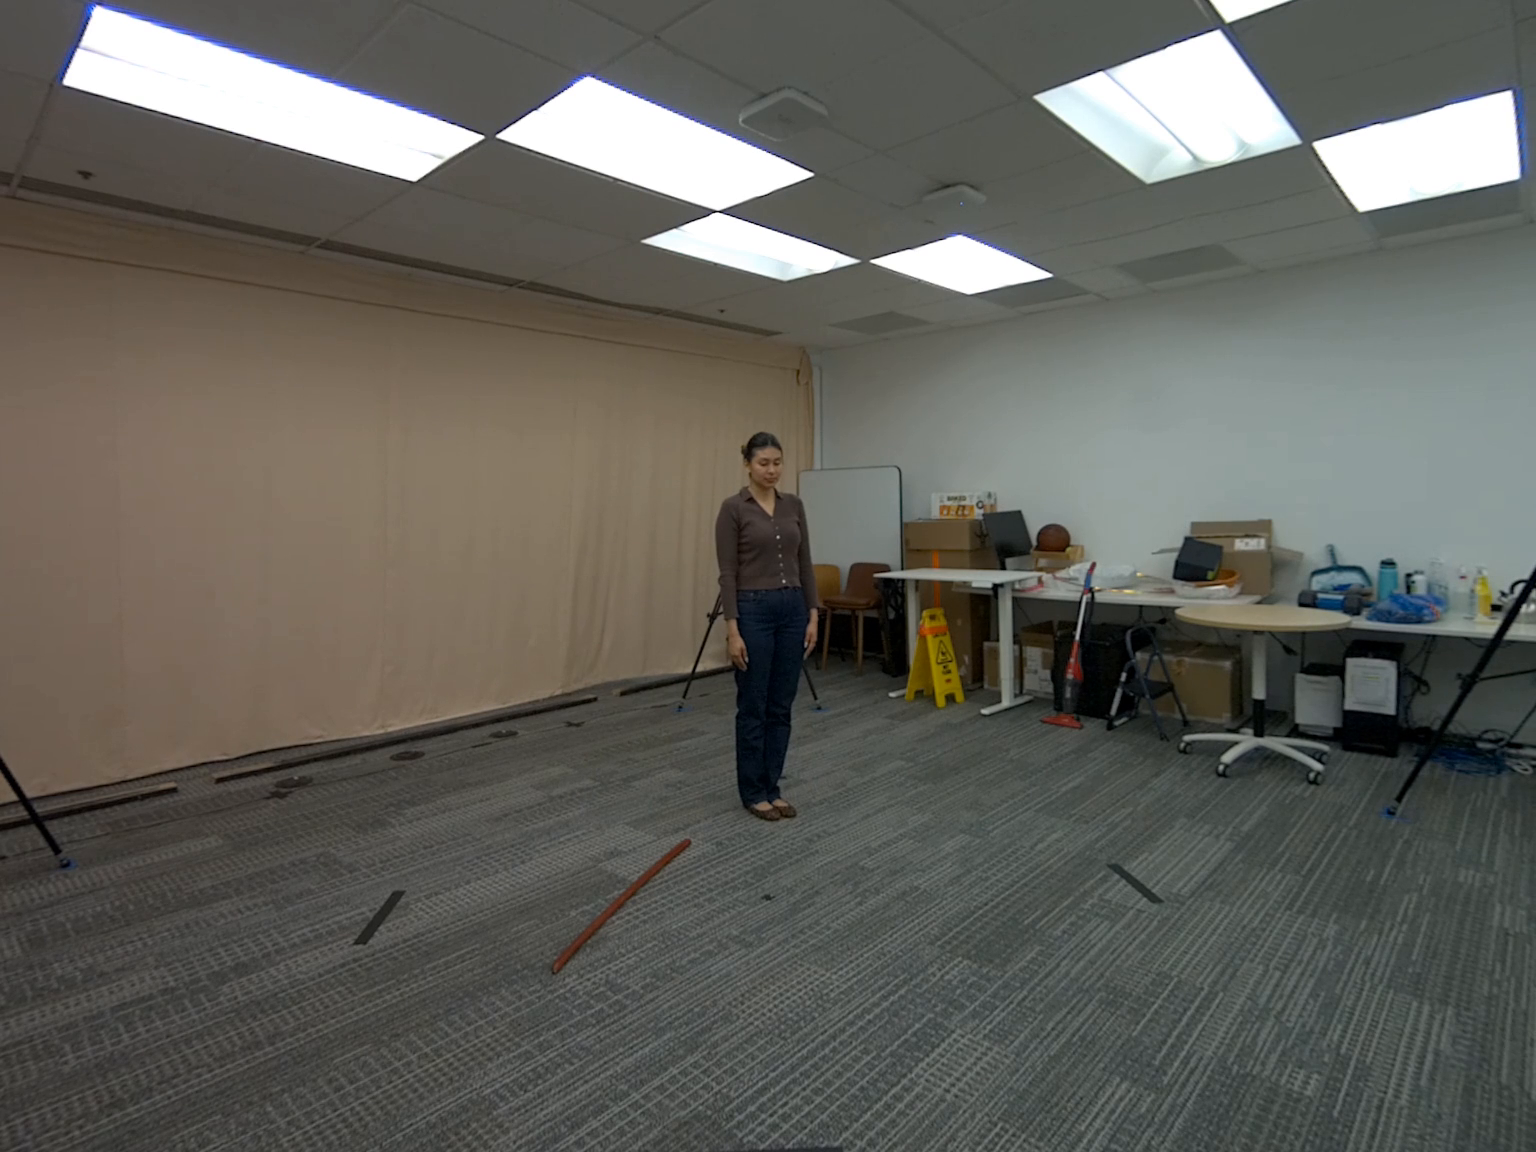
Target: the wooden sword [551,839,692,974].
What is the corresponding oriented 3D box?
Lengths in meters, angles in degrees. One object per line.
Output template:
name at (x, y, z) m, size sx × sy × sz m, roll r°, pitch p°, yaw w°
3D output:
wooden sword at (-0.492, 1.124, 2.994) m, size 0.052 × 0.024 × 1.006 m, roll -6°, pitch 3°, yaw 19°
